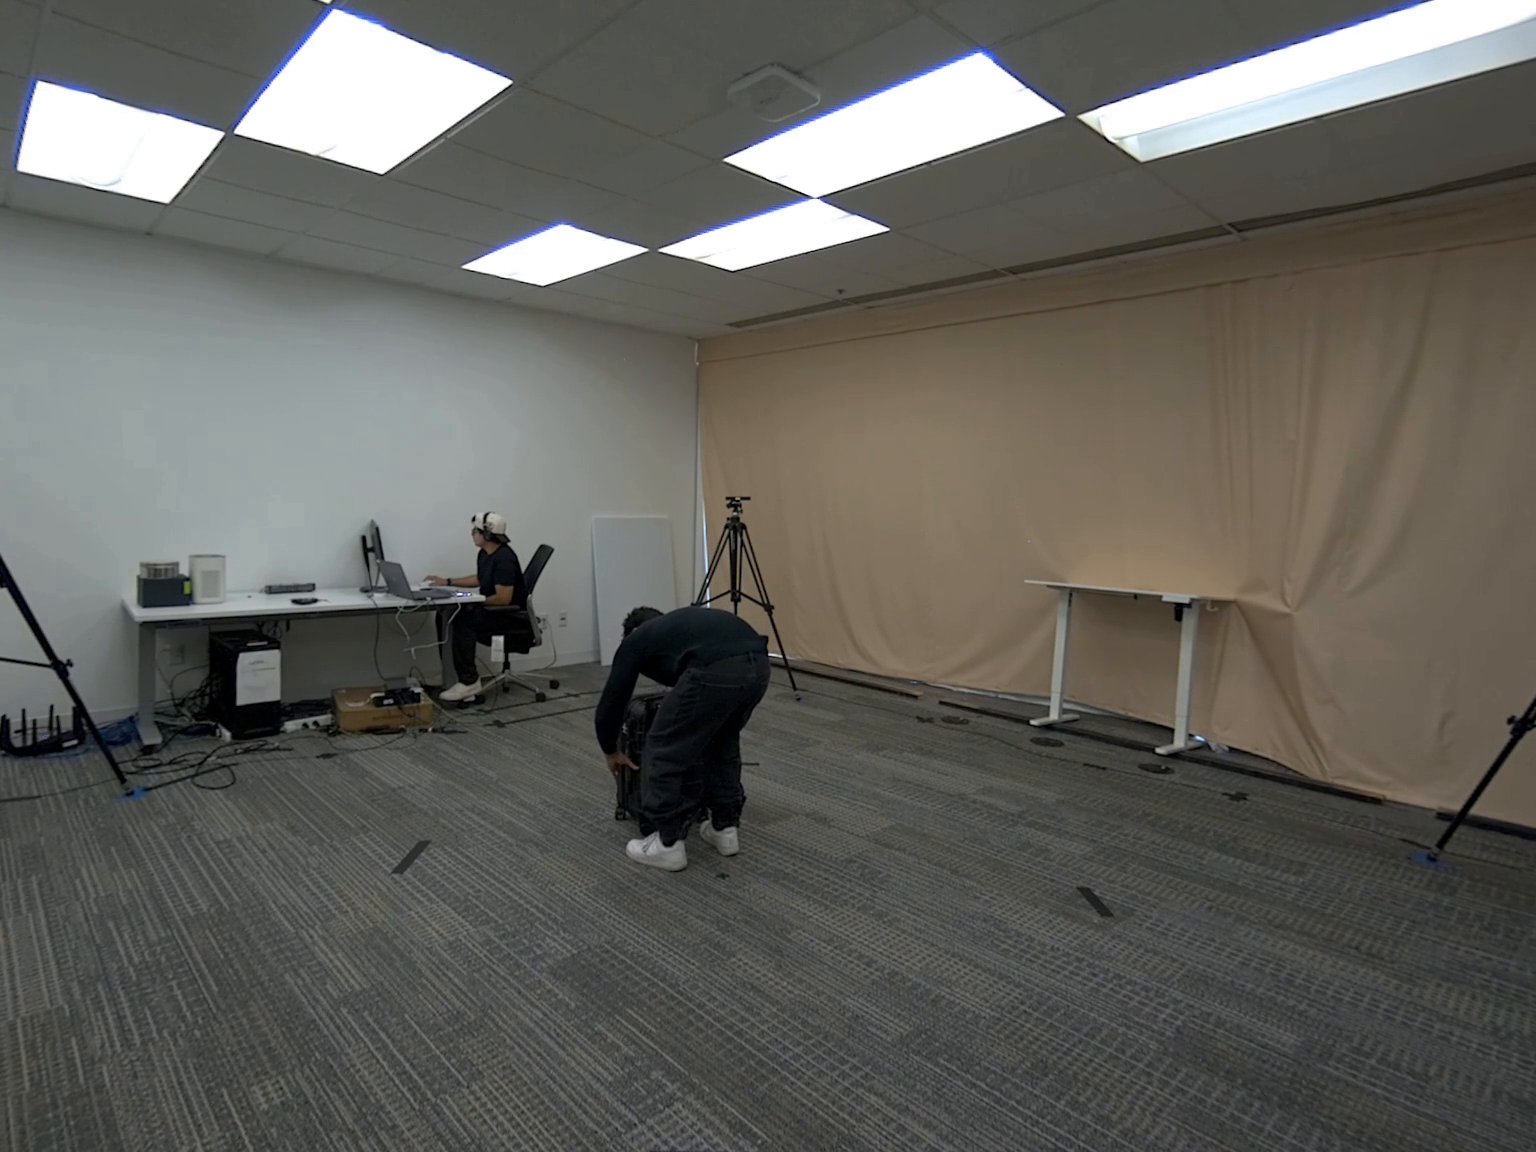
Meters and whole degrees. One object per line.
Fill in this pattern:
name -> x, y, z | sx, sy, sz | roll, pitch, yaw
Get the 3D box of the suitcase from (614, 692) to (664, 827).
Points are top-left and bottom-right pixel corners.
suitcase -> -0.470, 0.780, 3.629 | 0.367, 0.548, 0.254 | -1, 3, -35
